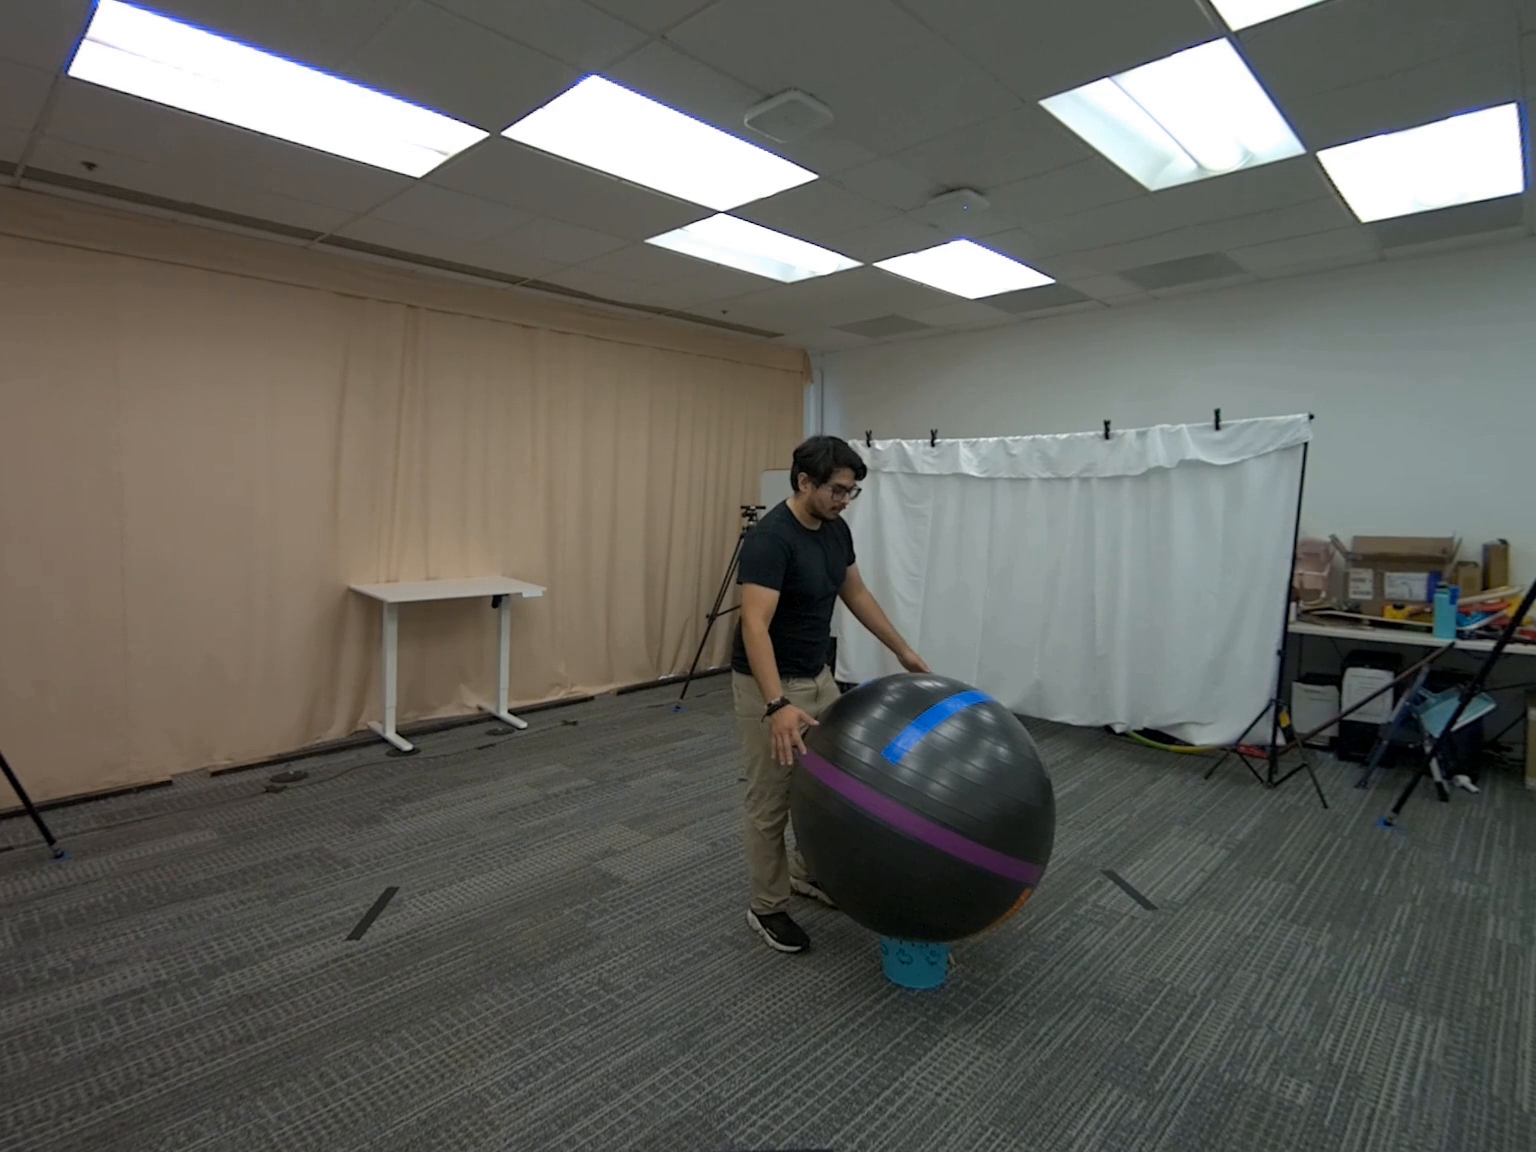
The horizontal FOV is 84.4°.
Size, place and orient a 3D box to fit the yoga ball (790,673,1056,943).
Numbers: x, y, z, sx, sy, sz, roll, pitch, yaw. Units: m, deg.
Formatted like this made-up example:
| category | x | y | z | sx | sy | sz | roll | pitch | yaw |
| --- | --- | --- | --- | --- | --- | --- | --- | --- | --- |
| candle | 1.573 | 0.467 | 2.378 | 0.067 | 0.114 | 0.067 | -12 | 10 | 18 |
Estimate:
| category | x | y | z | sx | sy | sz | roll | pitch | yaw |
| --- | --- | --- | --- | --- | --- | --- | --- | --- | --- |
| yoga ball | 0.464 | 0.681 | 2.486 | 0.757 | 0.756 | 0.761 | 0 | 4 | -2 |
